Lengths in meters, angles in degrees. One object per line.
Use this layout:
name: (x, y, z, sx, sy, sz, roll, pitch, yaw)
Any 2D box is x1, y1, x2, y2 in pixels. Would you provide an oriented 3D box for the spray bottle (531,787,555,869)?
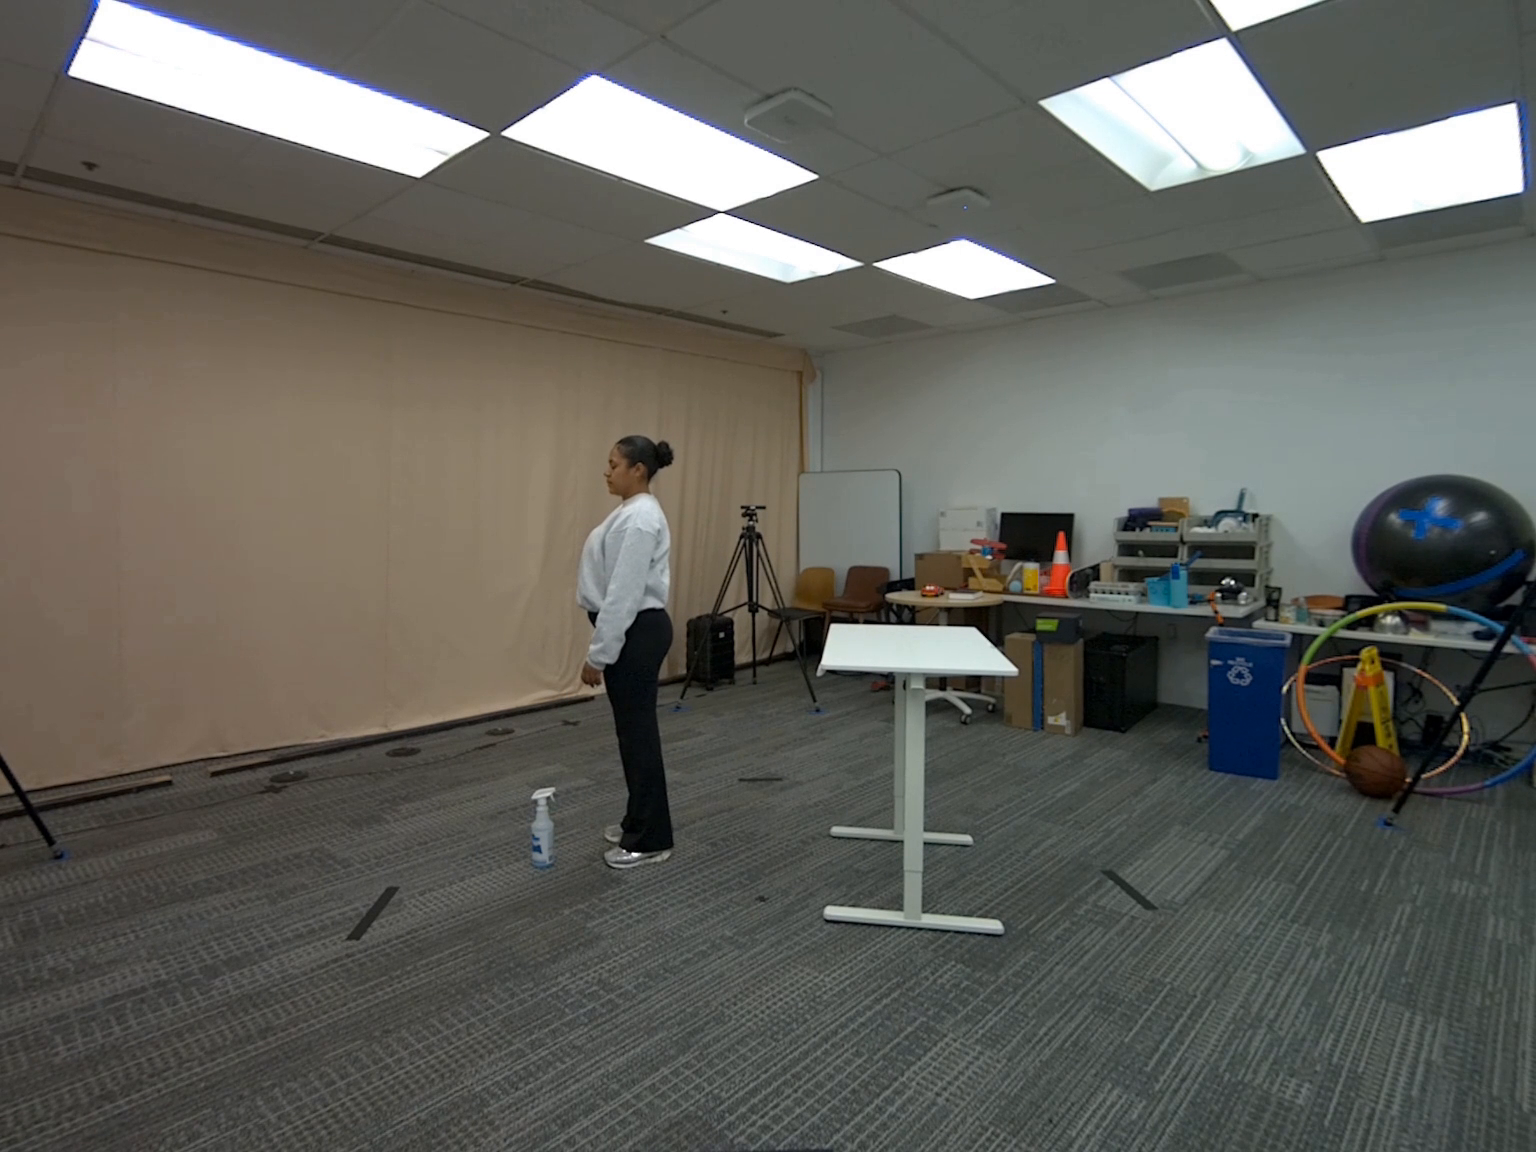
spray bottle: (-0.880, 0.987, 3.289, 0.090, 0.297, 0.087, 2, 2, 3)
